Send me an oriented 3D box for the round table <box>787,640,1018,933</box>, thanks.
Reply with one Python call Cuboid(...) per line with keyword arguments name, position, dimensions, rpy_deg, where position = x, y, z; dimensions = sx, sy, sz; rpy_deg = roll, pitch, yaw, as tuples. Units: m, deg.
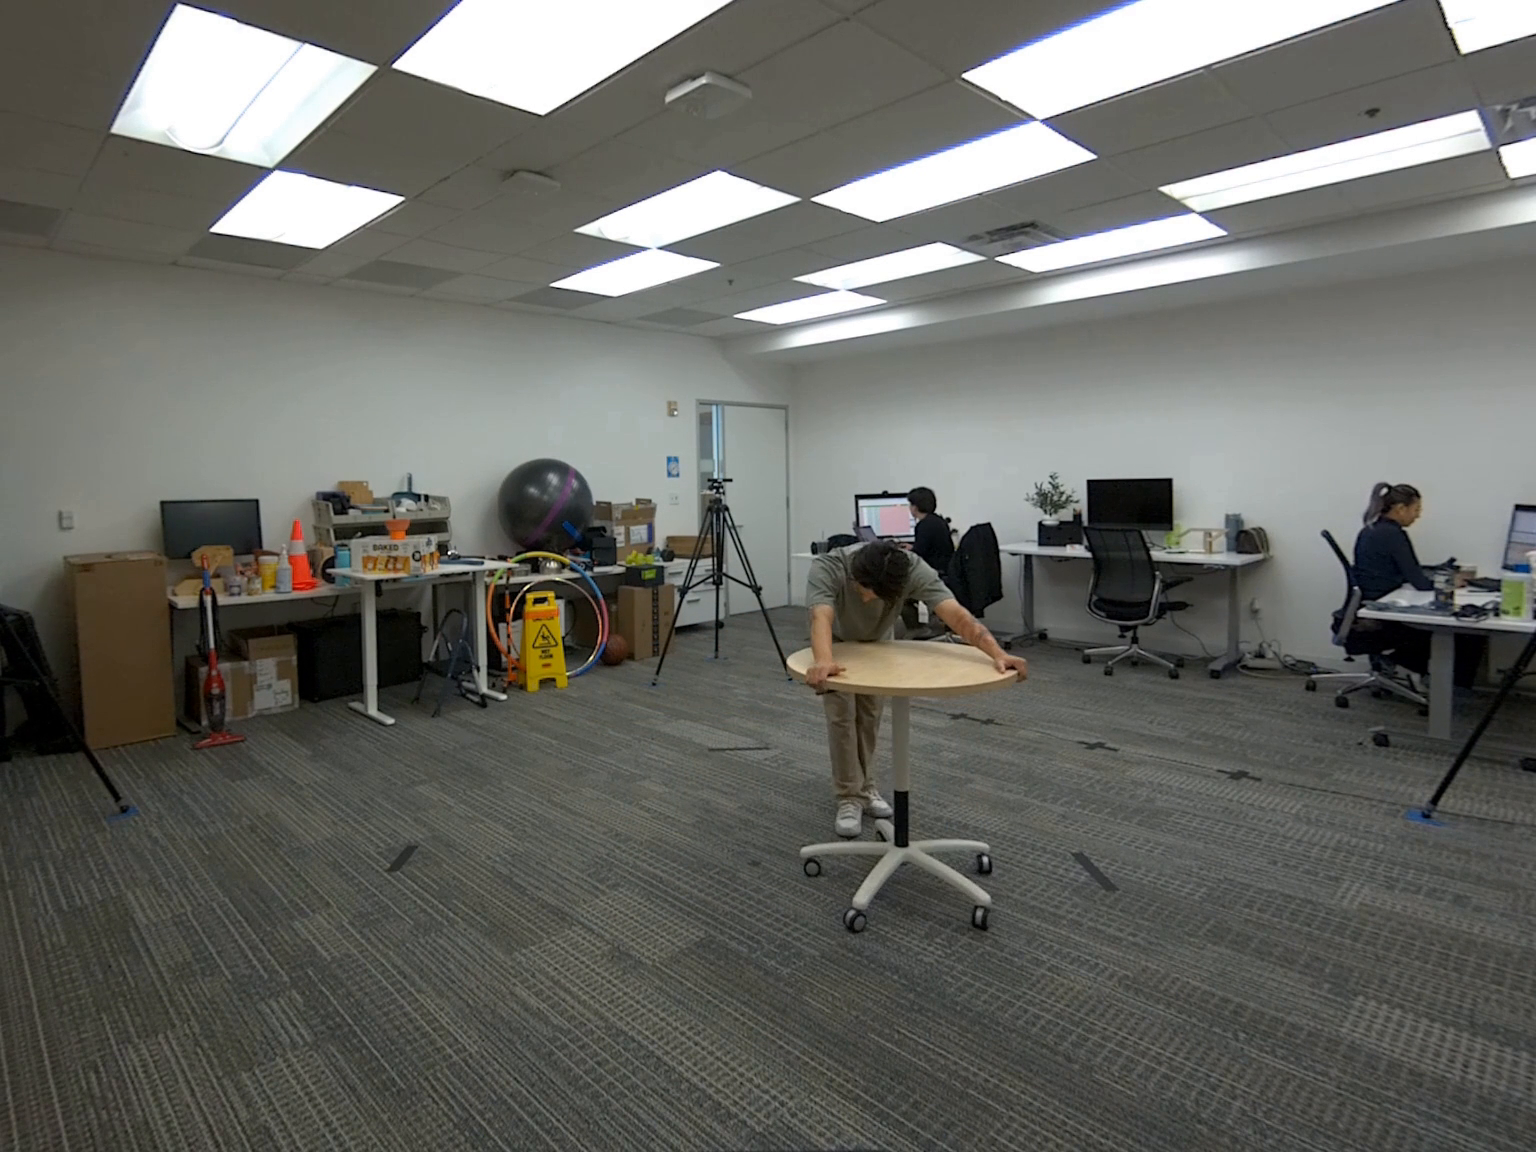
Cuboid(name="round table", position=(0.465, 0.673, 2.892), dimensions=(0.784, 0.783, 0.789), rpy_deg=(-2, 5, -2))
